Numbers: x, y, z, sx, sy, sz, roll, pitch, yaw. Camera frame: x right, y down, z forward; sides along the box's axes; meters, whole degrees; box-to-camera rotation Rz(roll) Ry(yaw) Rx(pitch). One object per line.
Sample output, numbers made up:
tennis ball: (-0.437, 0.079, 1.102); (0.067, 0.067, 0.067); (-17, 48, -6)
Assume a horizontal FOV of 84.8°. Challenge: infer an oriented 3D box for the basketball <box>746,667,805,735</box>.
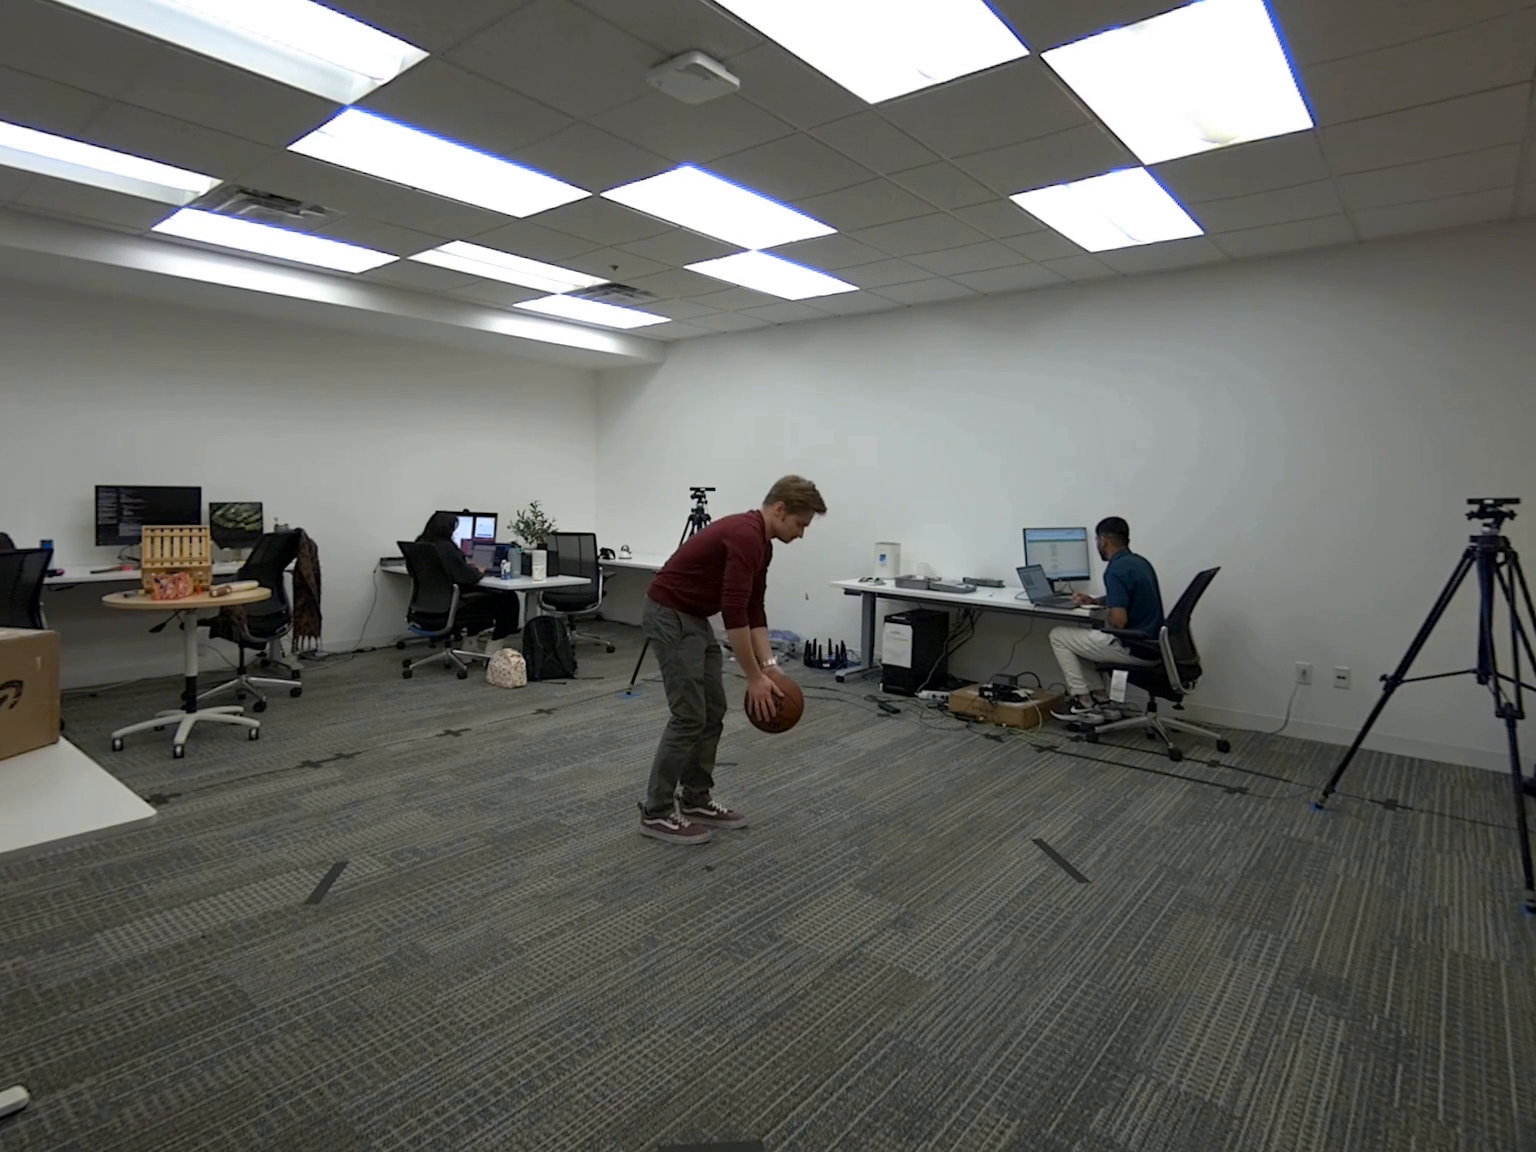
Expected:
basketball: (0.016, 0.502, 3.383); (0.235, 0.235, 0.237); (1, 4, -2)
